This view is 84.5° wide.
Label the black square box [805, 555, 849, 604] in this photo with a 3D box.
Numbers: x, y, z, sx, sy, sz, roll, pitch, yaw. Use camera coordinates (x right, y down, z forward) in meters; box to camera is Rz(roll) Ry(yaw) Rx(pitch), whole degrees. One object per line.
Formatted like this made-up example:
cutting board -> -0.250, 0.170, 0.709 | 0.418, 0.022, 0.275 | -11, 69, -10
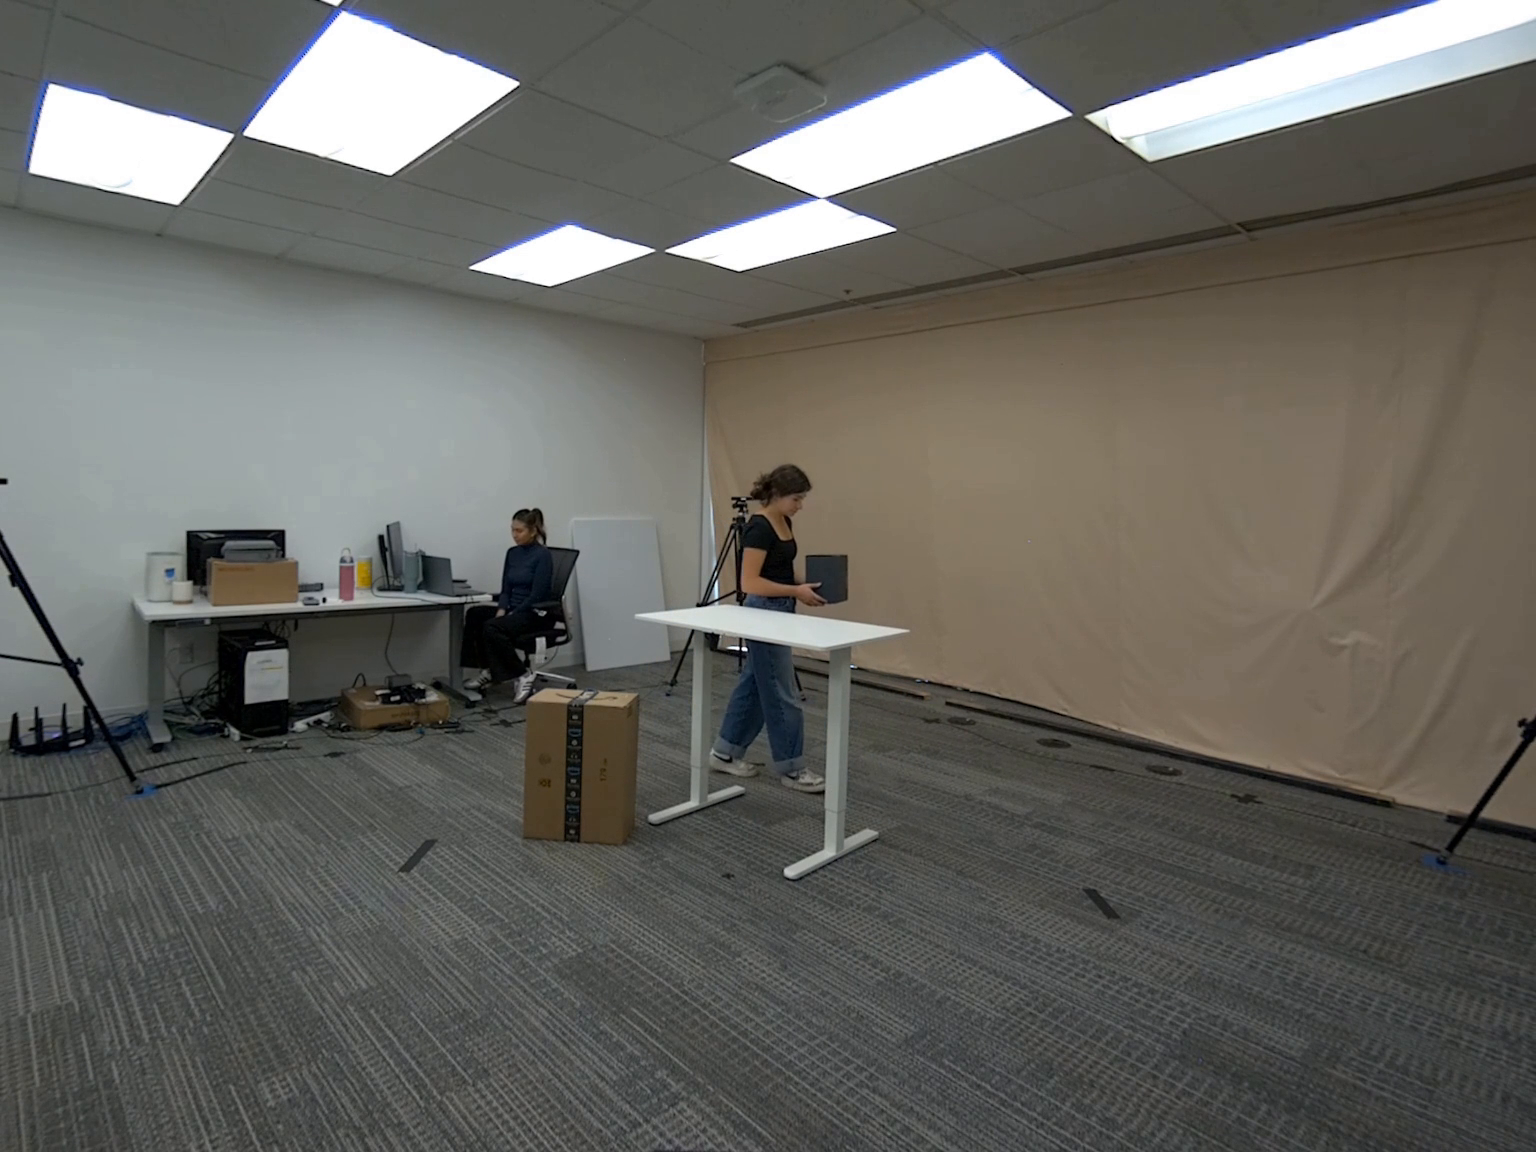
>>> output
black square box -> 0.267, 0.004, 4.099 | 0.158, 0.228, 0.213 | 1, 1, 22
